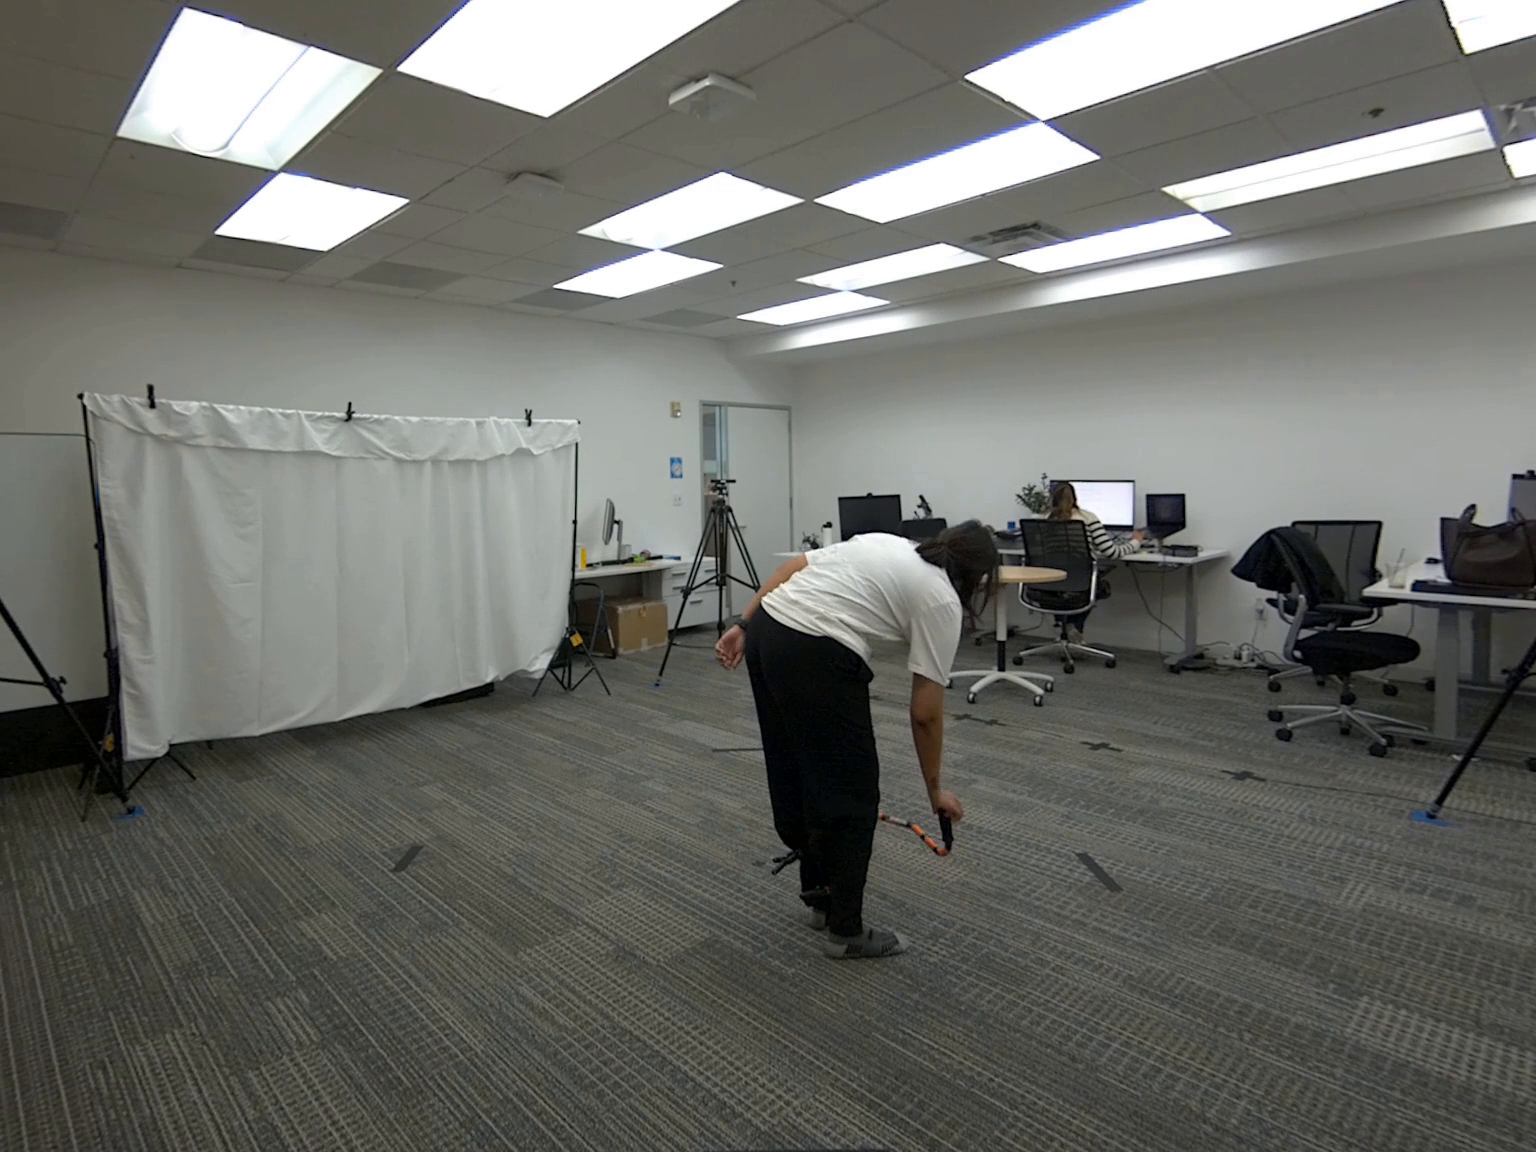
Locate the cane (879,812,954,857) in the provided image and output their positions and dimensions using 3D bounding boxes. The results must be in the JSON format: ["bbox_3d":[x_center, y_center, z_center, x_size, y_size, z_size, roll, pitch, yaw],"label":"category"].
[{"bbox_3d":[0.370,0.852,3.045,0.148,0.208,0.920,2,-7,-24],"label":"cane"}]
